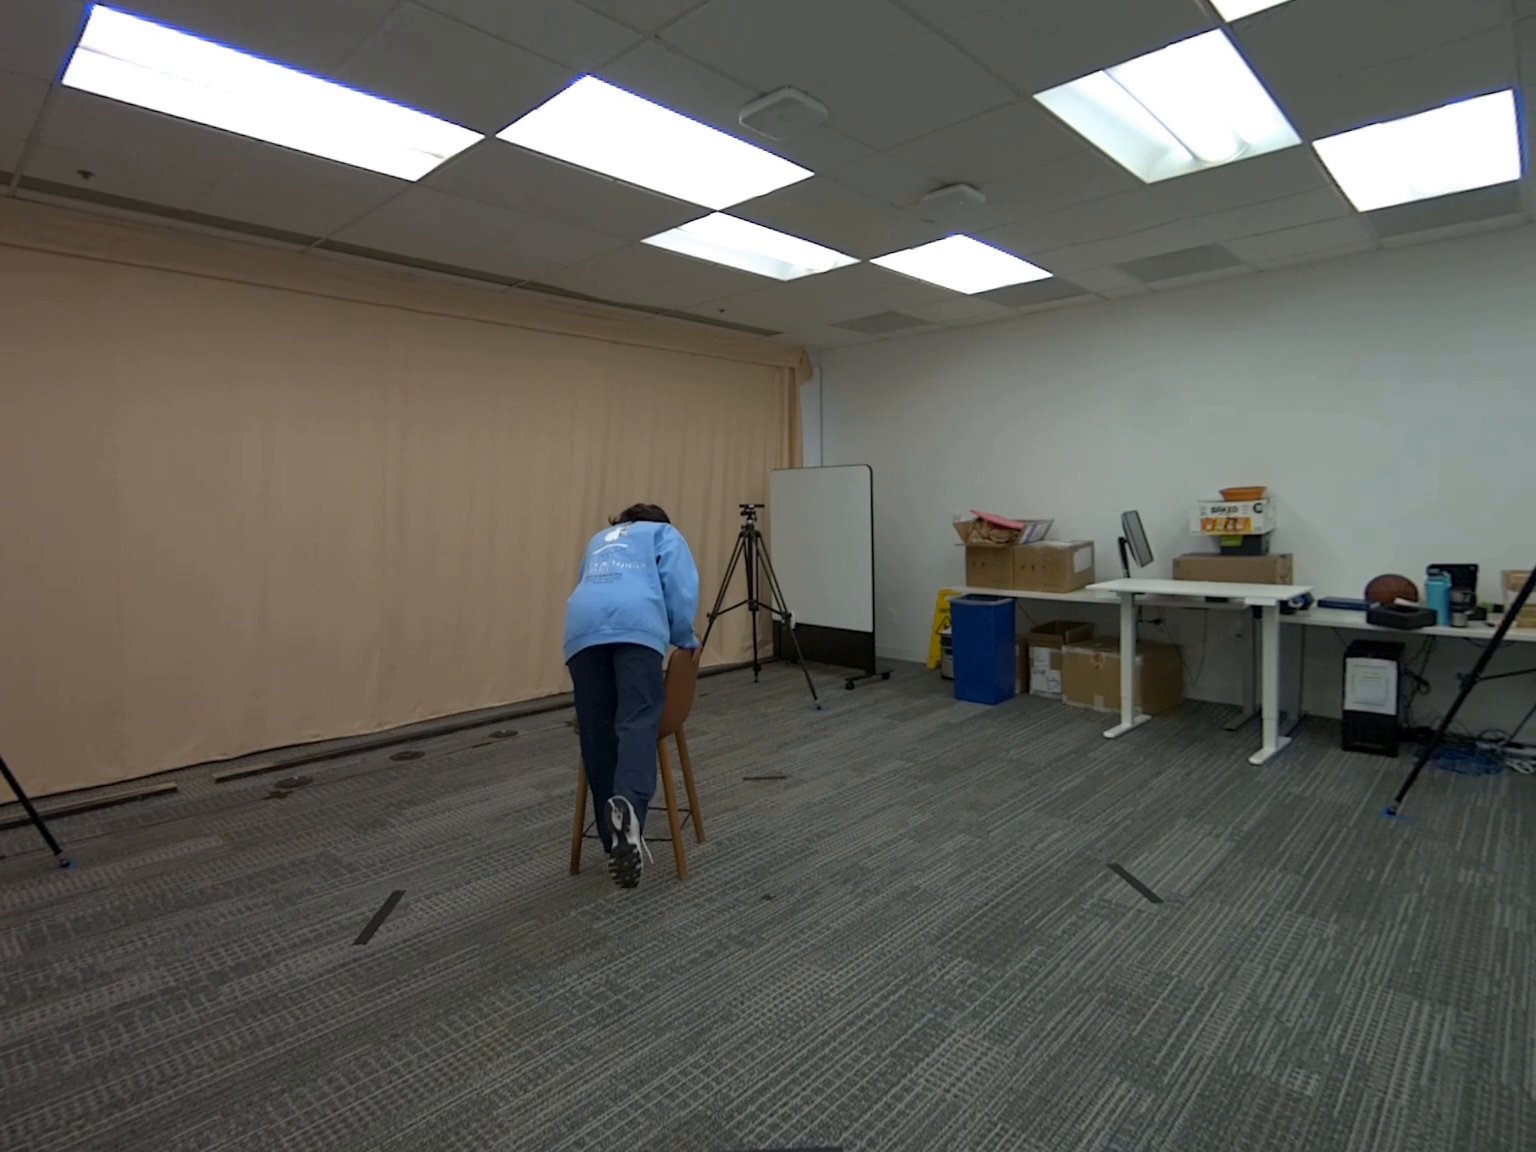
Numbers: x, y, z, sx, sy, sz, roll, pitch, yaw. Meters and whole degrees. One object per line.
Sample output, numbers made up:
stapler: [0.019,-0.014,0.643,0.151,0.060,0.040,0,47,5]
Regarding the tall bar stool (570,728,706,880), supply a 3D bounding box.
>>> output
tall bar stool: [-0.510,0.683,3.341,0.473,0.887,0.453,2,4,9]
